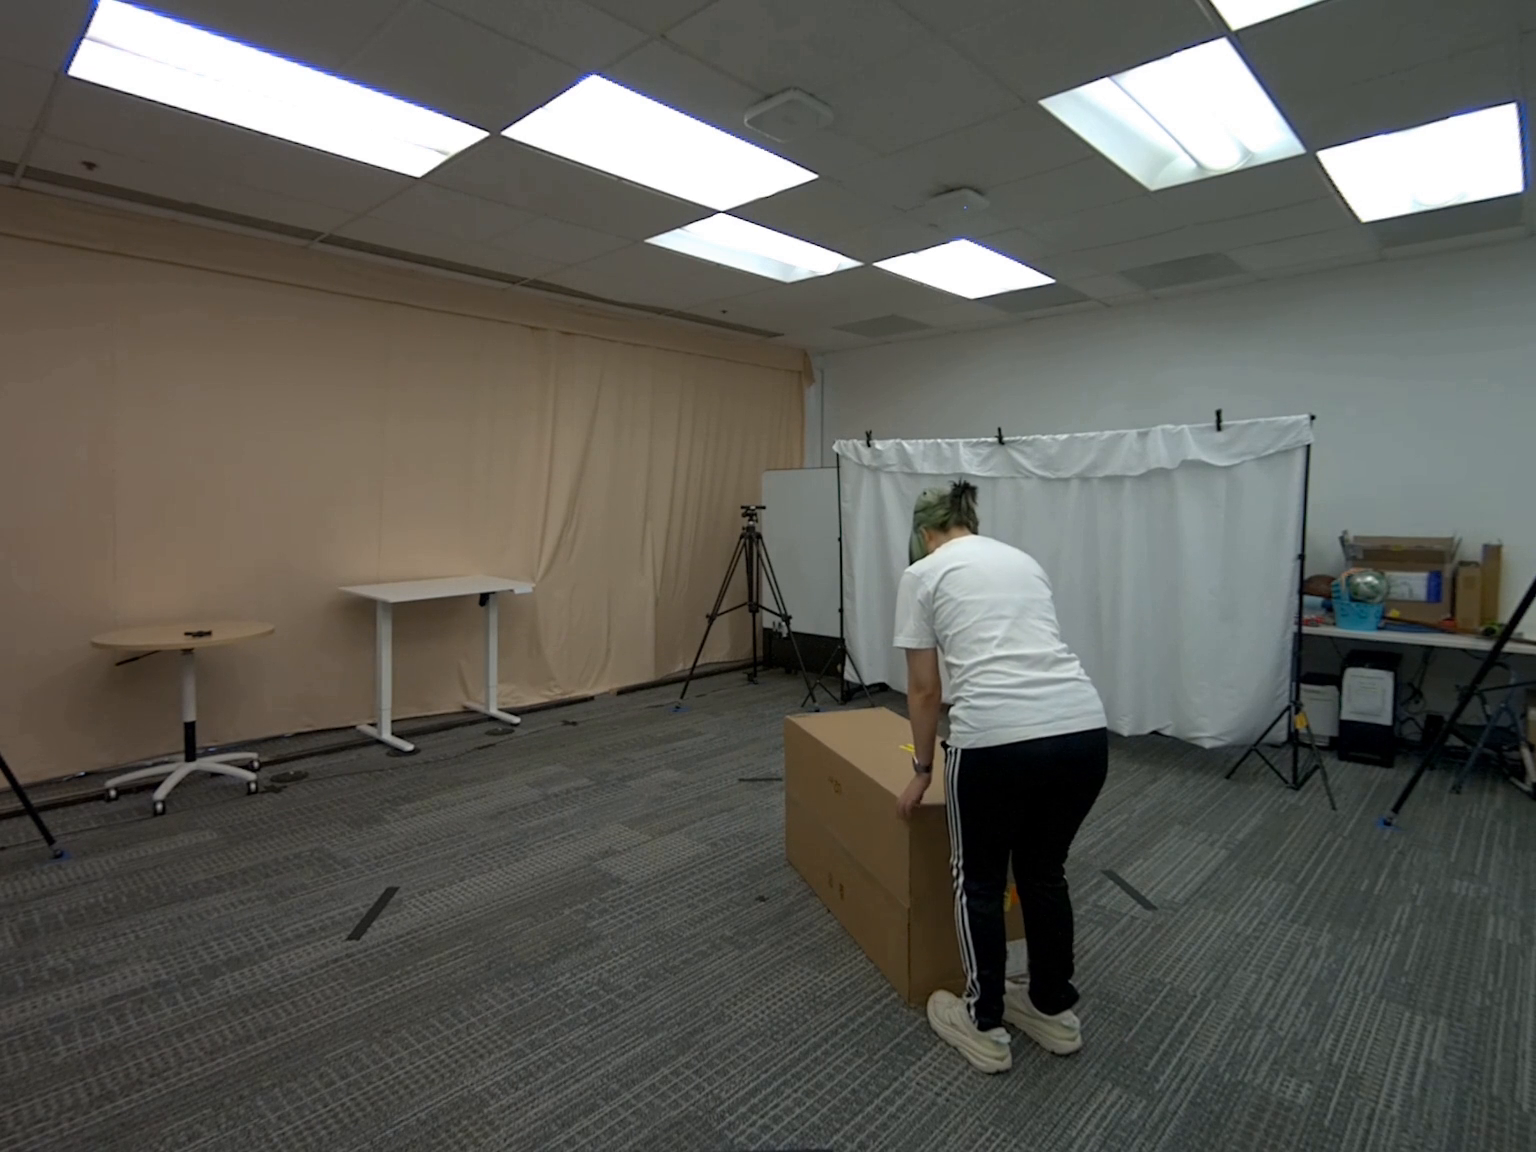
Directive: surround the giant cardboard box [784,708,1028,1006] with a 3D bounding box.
[{"bbox_3d":[0.435,0.863,2.858,0.439,0.582,1.048,-1,5,-18],"label":"giant cardboard box"}]
